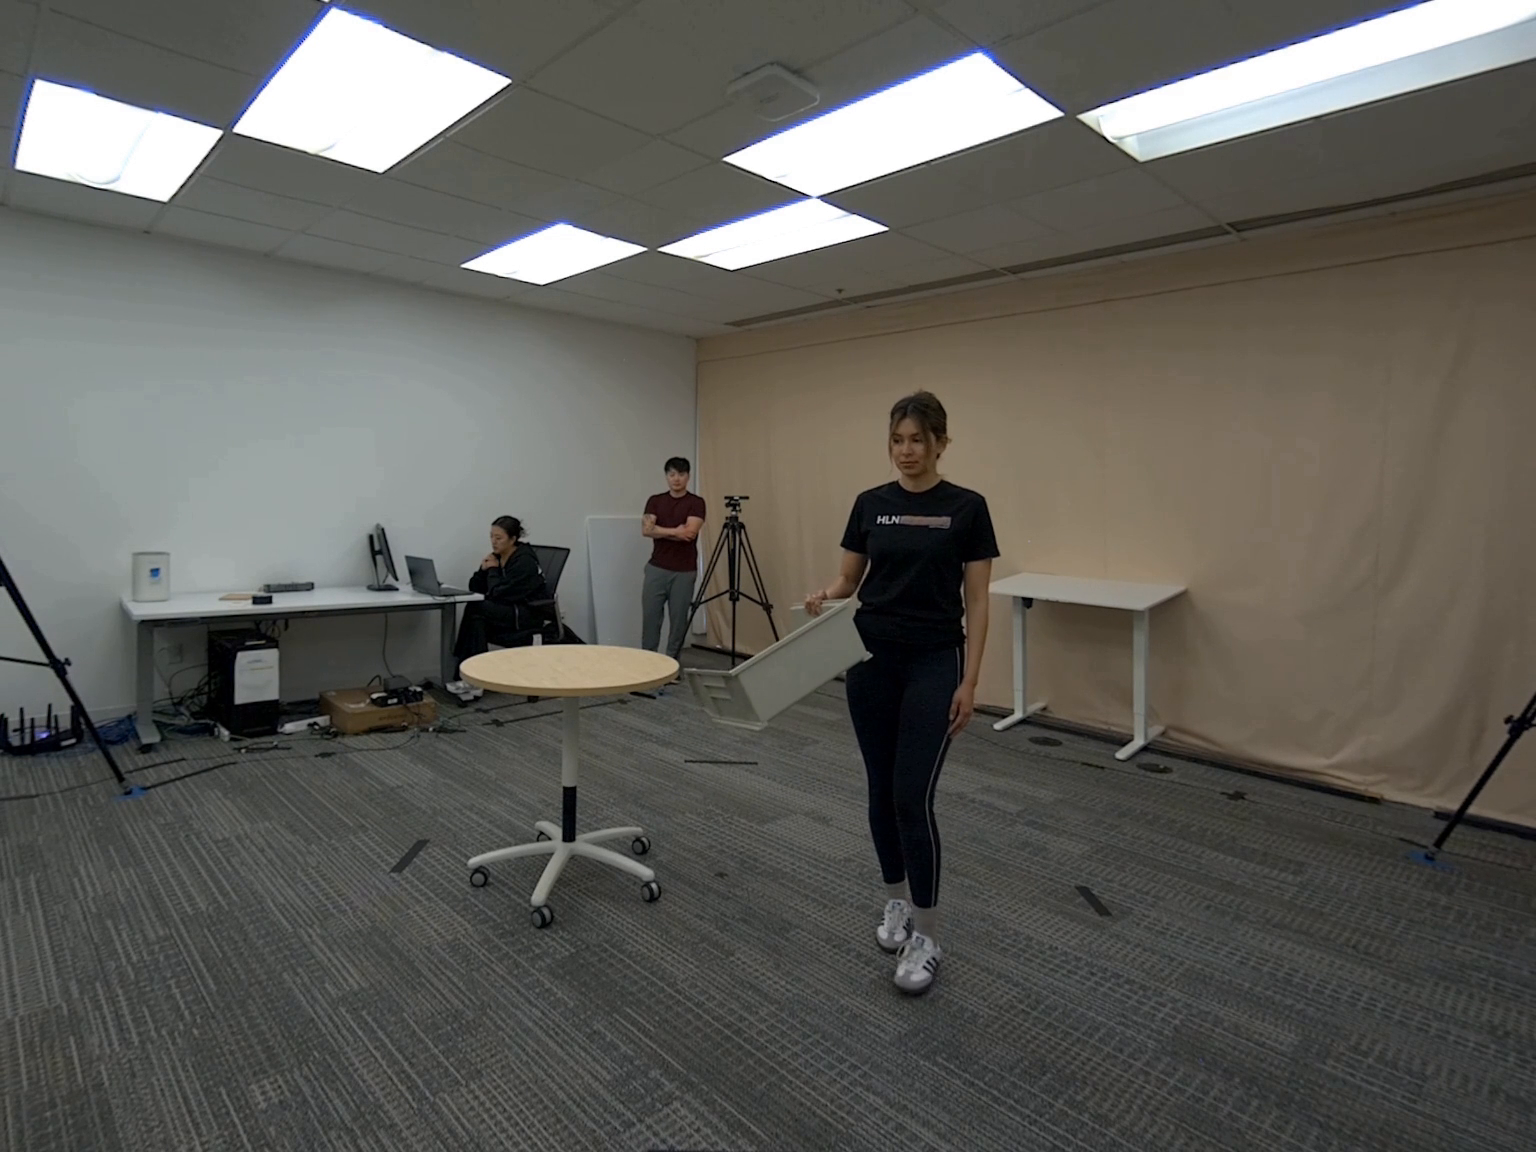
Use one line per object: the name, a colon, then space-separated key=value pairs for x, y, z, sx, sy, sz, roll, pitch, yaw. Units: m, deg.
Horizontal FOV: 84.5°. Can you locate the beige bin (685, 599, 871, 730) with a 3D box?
beige bin: x=0.020 y=0.253 z=2.437 sx=0.419 sy=0.187 sz=0.383 roll=-29 pitch=9 yaw=-25
